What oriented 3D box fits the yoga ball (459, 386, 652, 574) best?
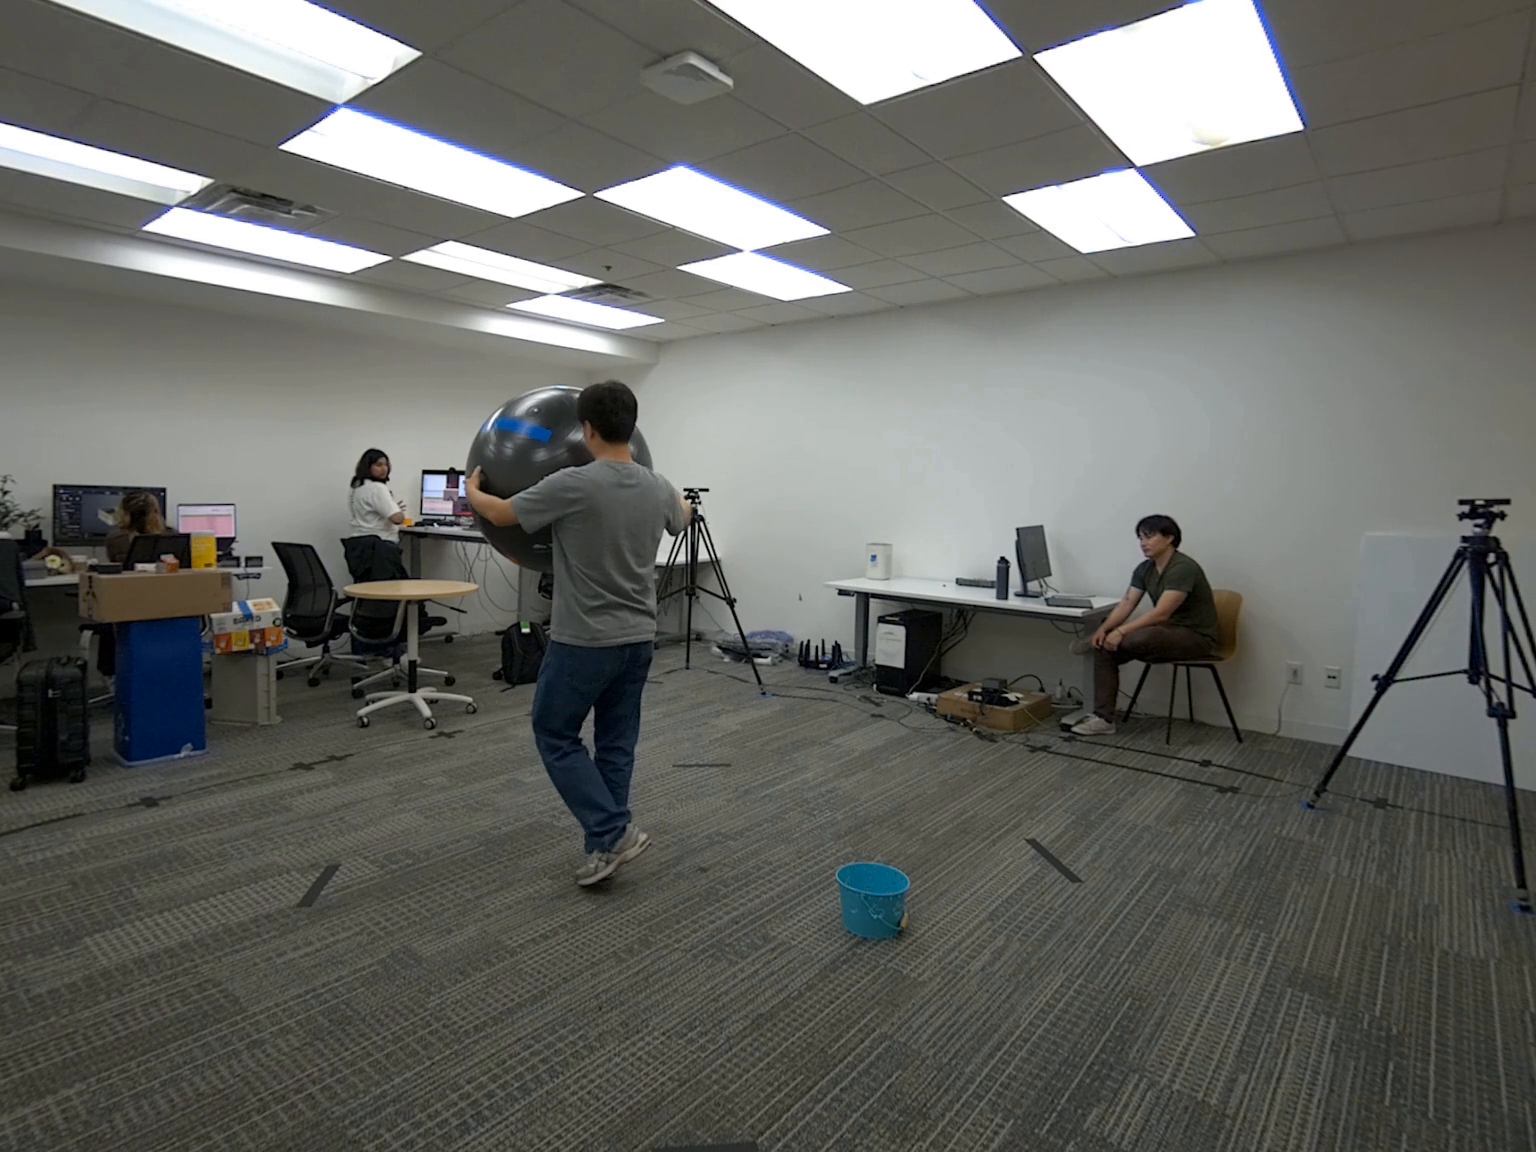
[{"bbox_3d":[-0.859,-0.380,3.465,0.757,0.756,0.761,1,4,-2],"label":"yoga ball"}]
